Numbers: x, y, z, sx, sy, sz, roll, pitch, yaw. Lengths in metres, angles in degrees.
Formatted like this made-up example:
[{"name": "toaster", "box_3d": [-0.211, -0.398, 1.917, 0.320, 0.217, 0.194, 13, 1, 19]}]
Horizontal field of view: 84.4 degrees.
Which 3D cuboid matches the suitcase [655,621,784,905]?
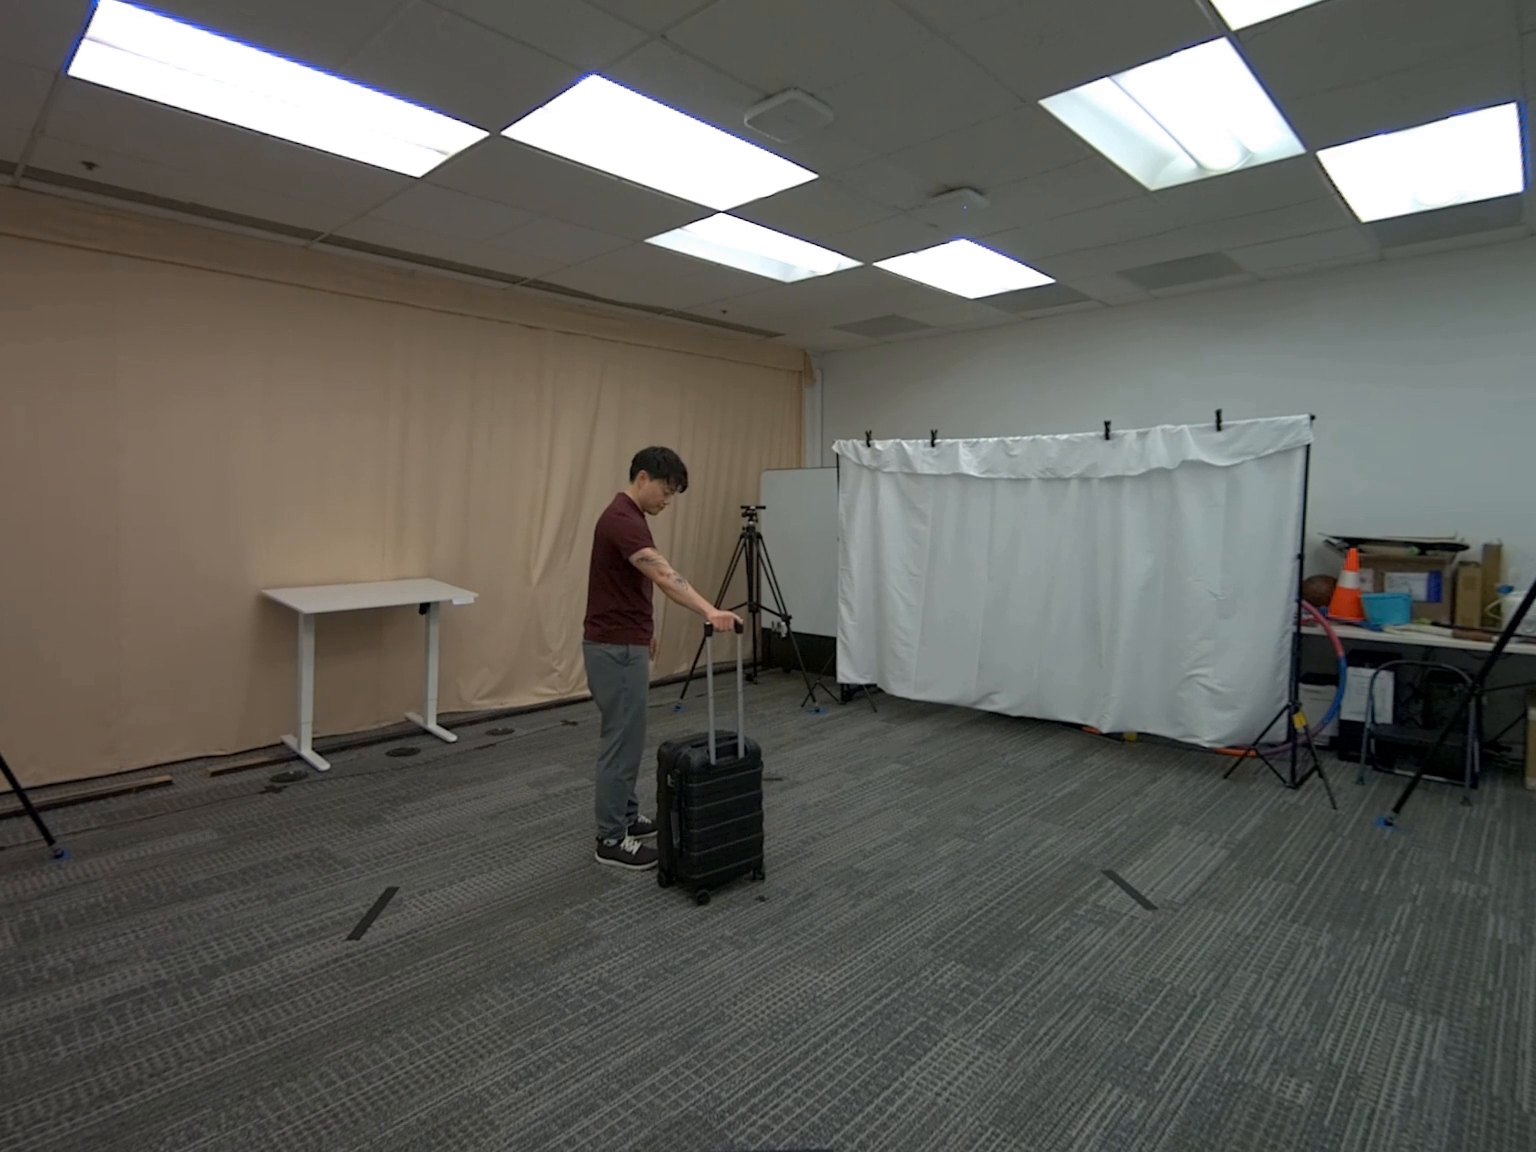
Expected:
[{"name": "suitcase", "box_3d": [-0.218, 0.656, 3.093, 0.373, 0.978, 0.265, -3, 2, -37]}]
